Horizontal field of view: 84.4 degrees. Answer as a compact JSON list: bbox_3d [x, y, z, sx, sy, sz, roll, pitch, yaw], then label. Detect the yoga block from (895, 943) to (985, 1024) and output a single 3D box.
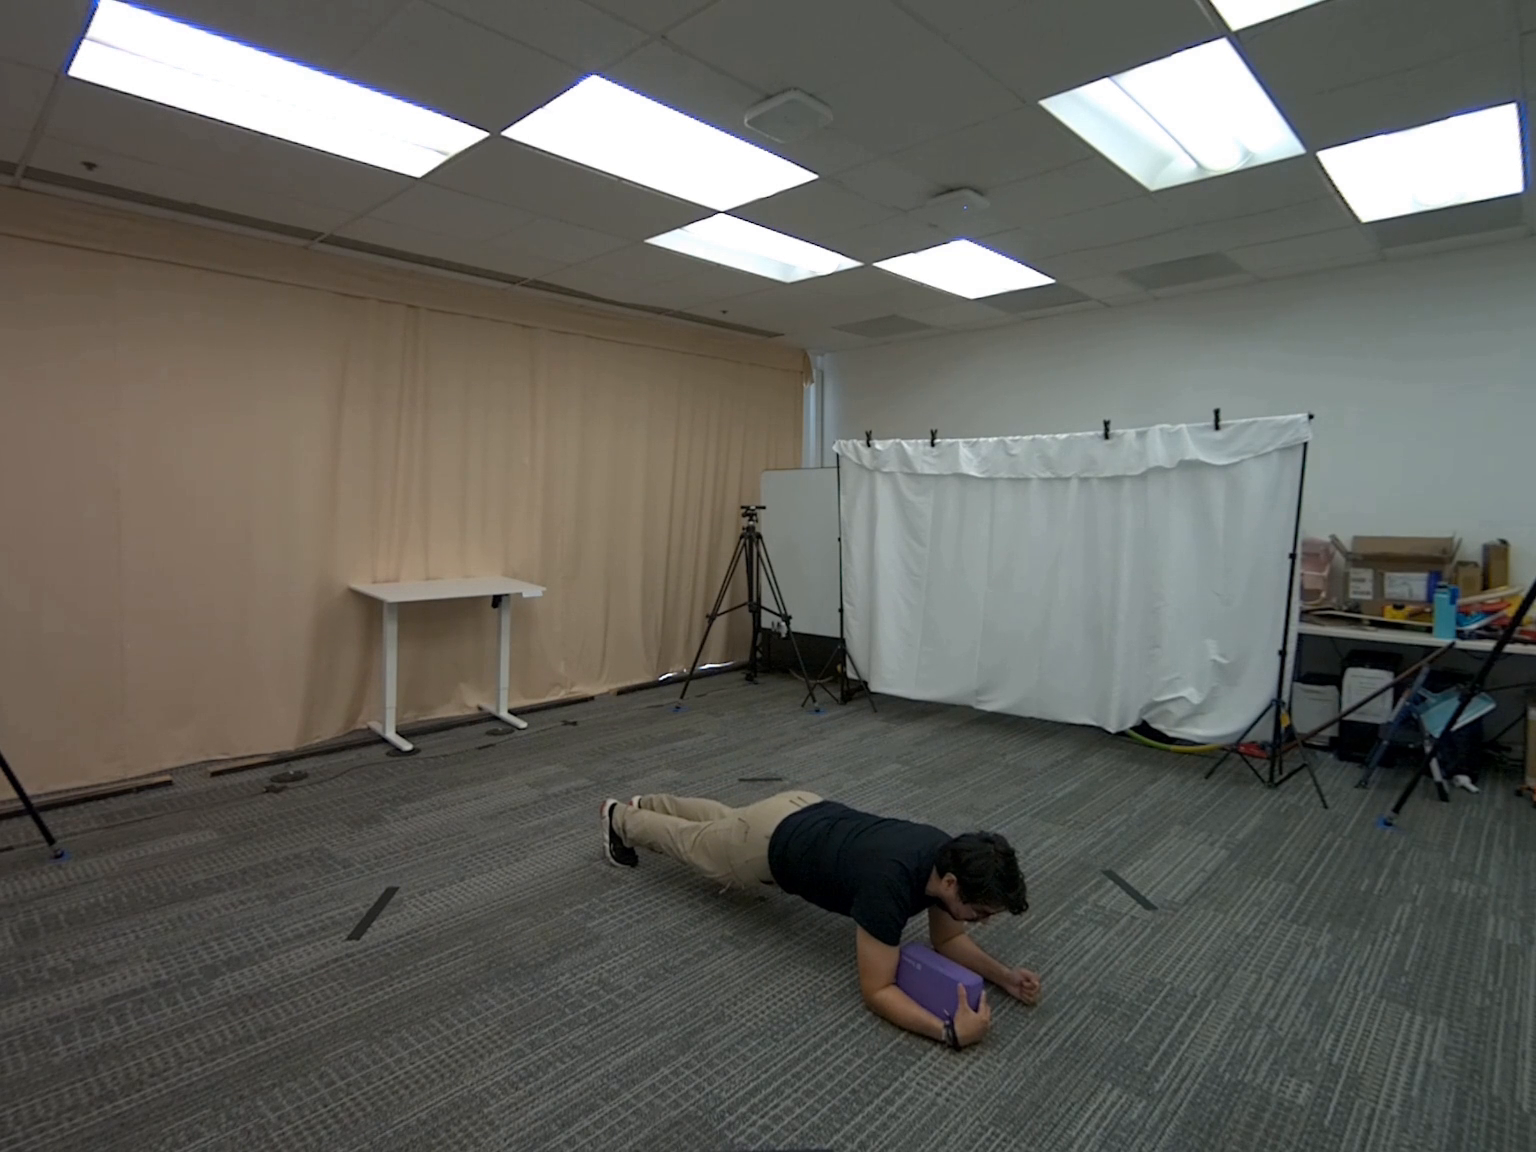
[{"bbox_3d":[0.457,1.114,2.282,0.074,0.149,0.237,5,3,-42],"label":"yoga block"}]
